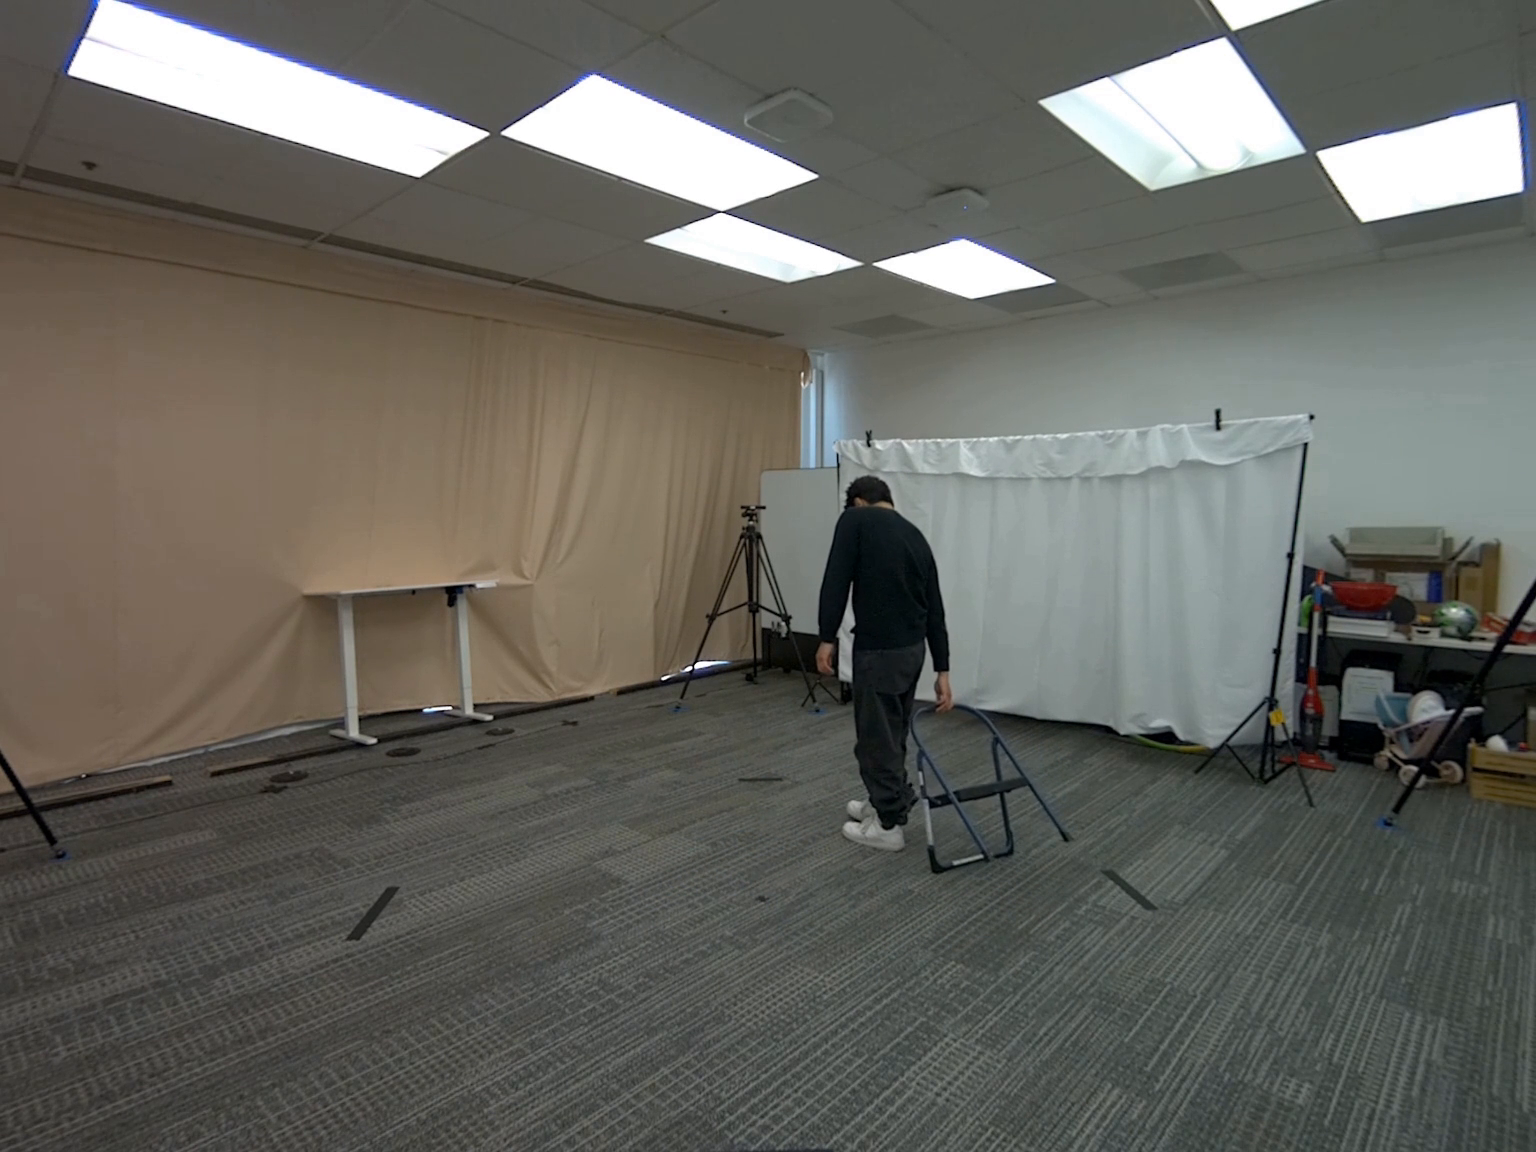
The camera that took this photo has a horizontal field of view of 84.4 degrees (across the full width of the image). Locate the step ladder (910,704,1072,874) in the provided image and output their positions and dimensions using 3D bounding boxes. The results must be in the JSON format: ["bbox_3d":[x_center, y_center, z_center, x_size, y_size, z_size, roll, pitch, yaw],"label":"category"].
[{"bbox_3d":[0.815,0.781,3.263,0.419,0.617,0.352,-1,-26,-29],"label":"step ladder"}]
